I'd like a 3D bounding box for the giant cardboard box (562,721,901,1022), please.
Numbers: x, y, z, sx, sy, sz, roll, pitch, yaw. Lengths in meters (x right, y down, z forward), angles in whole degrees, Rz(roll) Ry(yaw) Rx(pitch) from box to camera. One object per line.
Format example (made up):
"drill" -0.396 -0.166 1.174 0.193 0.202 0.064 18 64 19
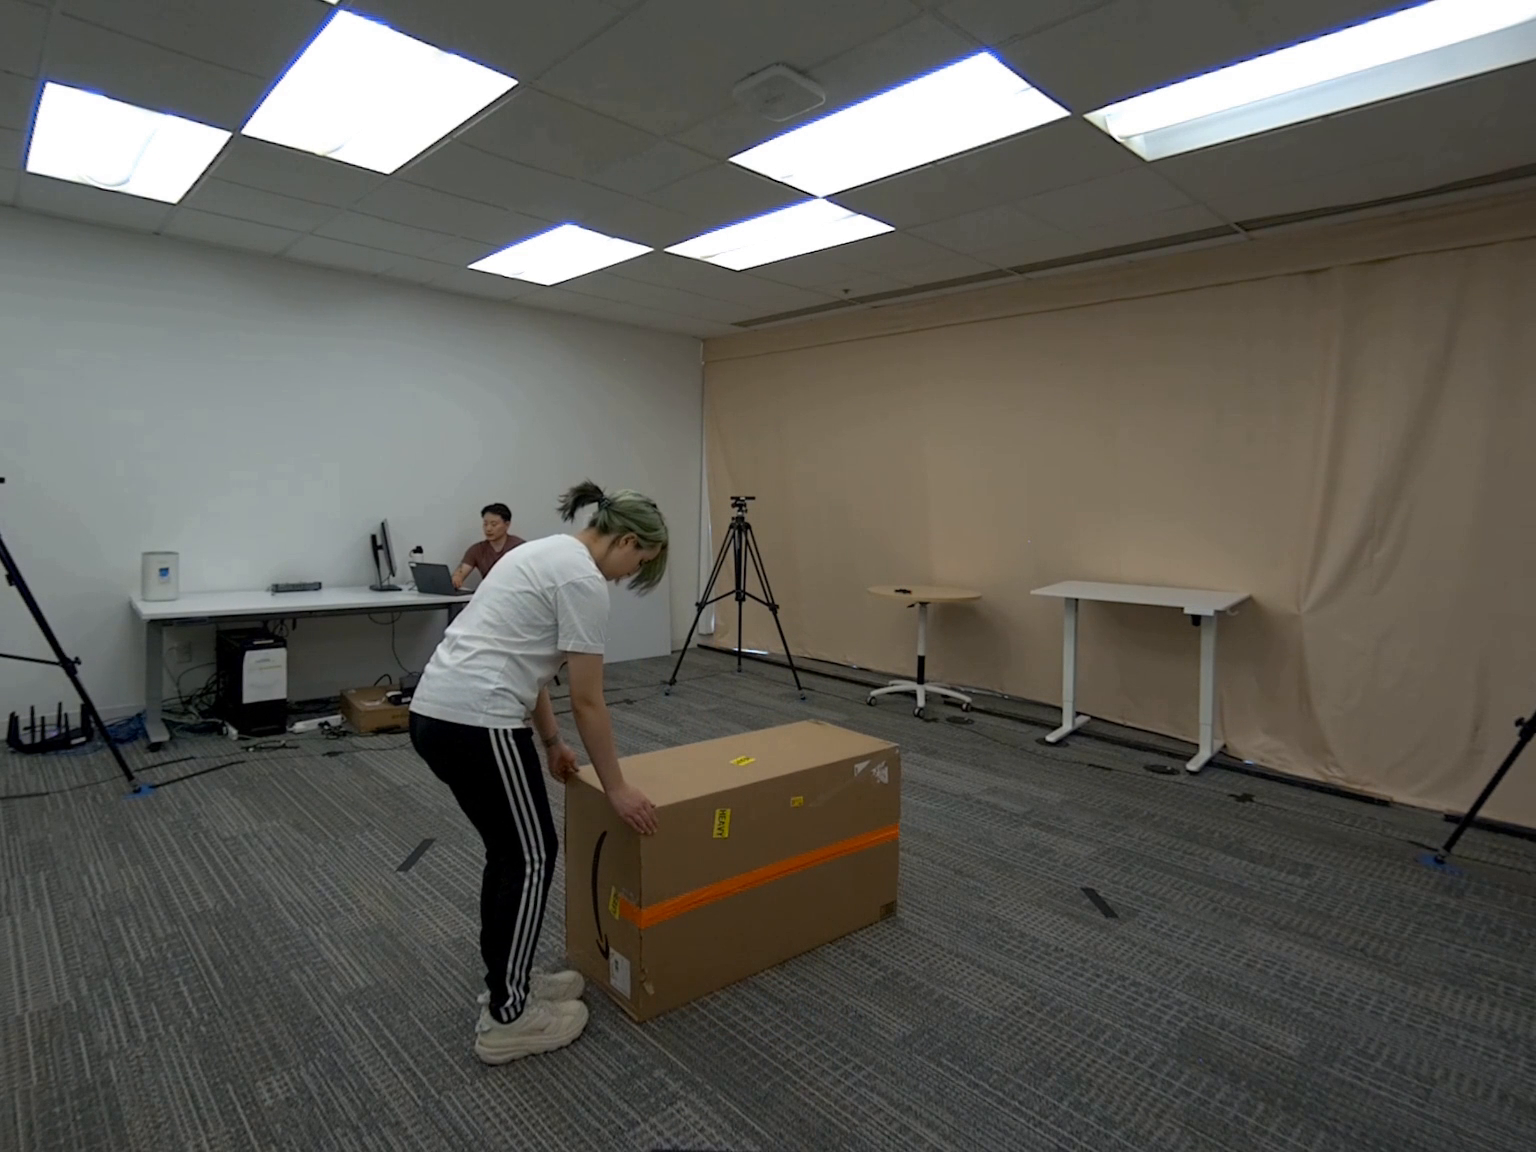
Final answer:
"giant cardboard box" -0.087 0.857 2.671 1.004 0.582 0.458 -3 6 -40
